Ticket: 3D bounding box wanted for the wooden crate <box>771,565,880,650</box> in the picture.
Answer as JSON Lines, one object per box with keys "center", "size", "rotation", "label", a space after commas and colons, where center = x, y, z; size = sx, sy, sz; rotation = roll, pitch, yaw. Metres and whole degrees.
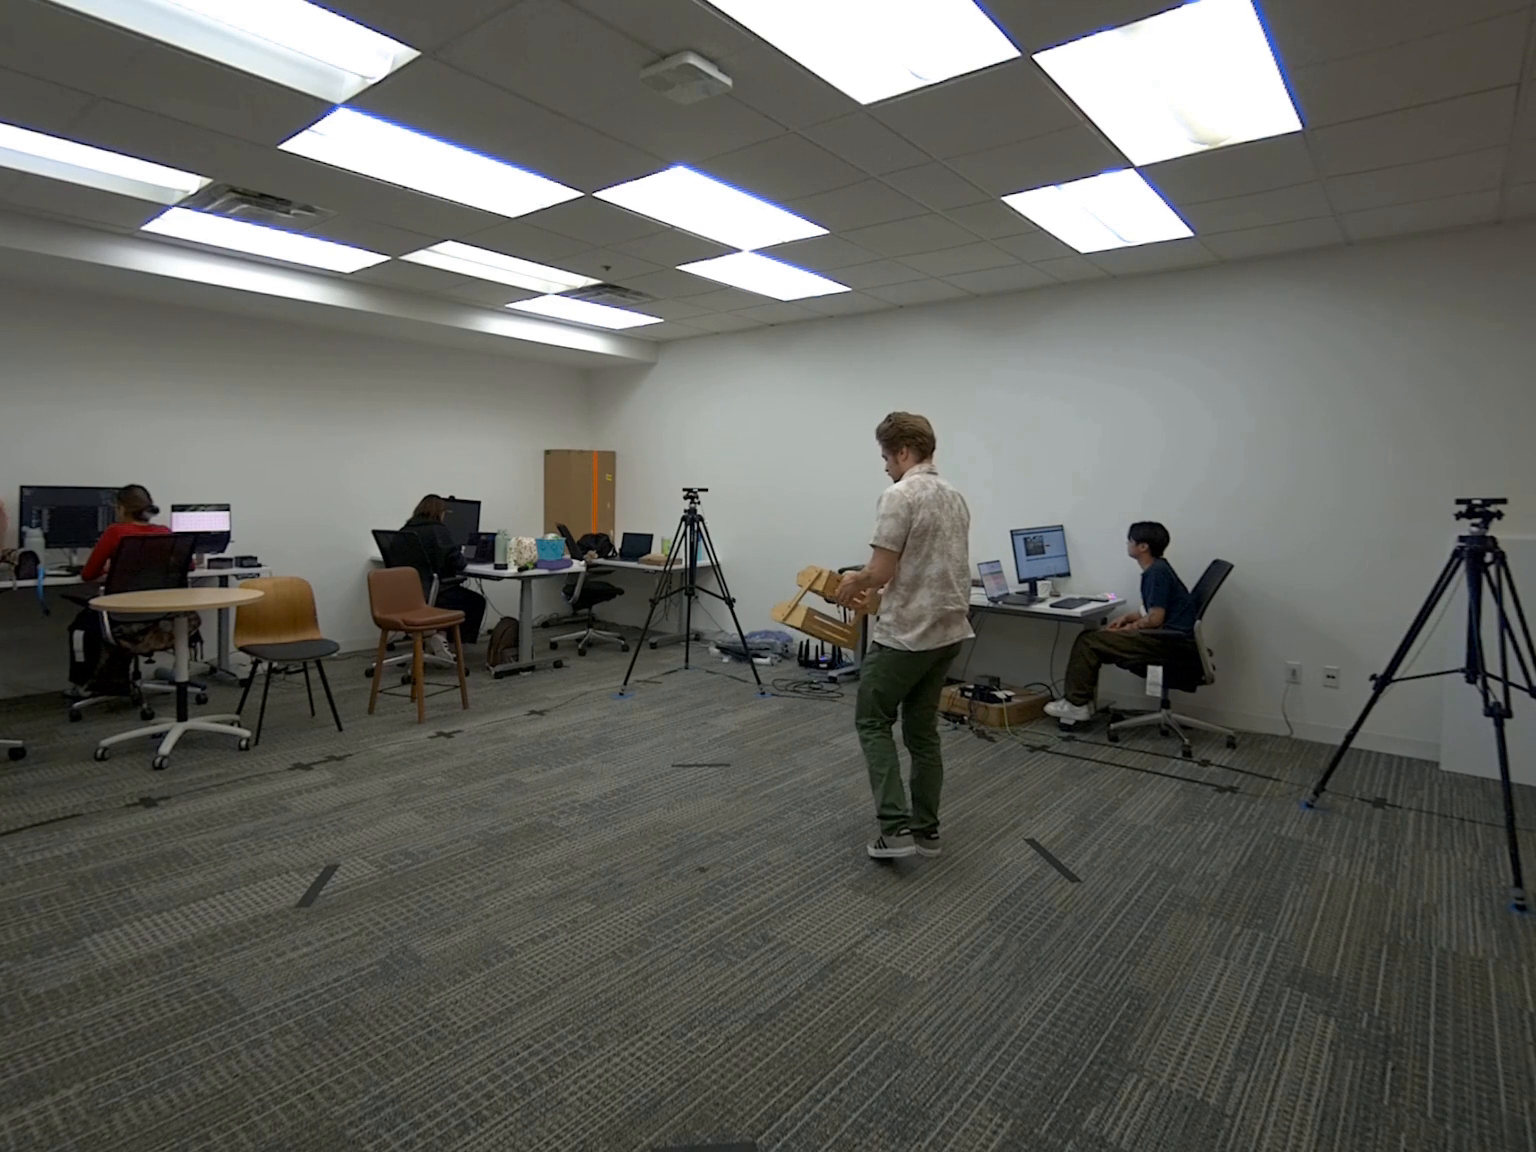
{"center": [0.229, 0.123, 3.598], "size": [0.313, 0.274, 0.311], "rotation": [24, -6, -30], "label": "wooden crate"}
